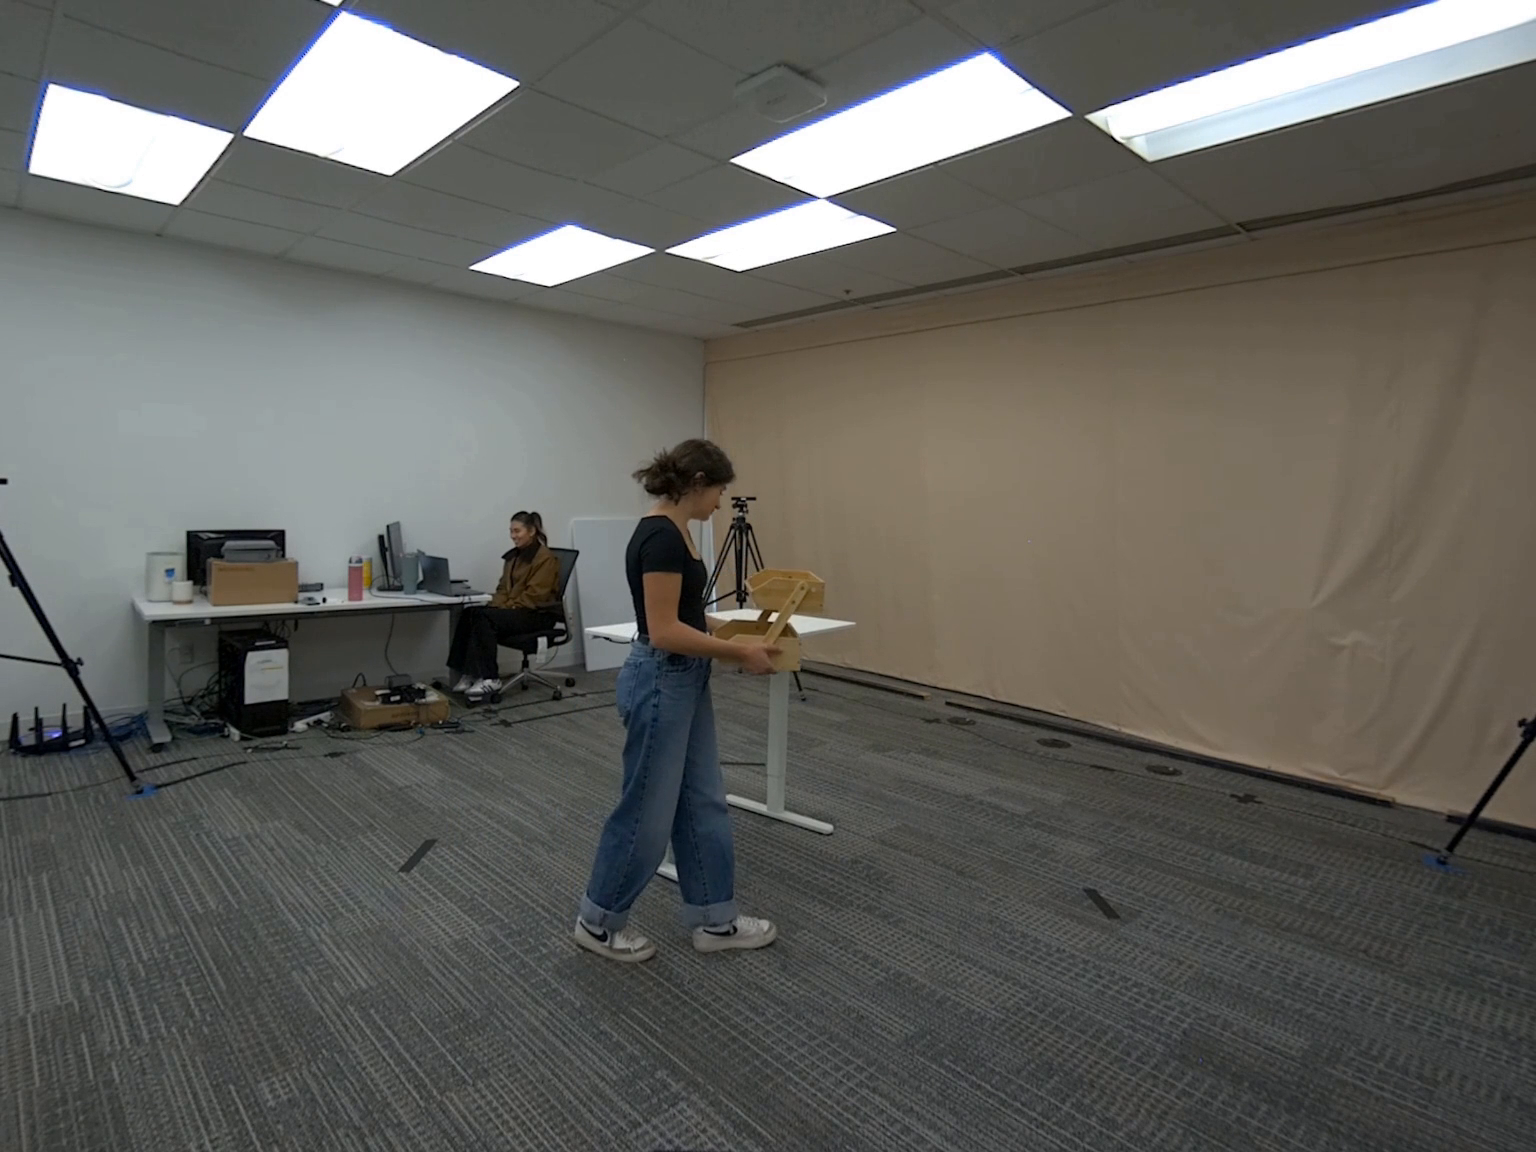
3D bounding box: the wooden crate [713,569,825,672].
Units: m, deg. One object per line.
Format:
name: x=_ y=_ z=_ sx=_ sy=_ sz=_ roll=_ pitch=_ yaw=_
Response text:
wooden crate: x=-0.027 y=0.118 z=2.541 sx=0.302 sy=0.272 sz=0.325 roll=3 pitch=5 yaw=-1
